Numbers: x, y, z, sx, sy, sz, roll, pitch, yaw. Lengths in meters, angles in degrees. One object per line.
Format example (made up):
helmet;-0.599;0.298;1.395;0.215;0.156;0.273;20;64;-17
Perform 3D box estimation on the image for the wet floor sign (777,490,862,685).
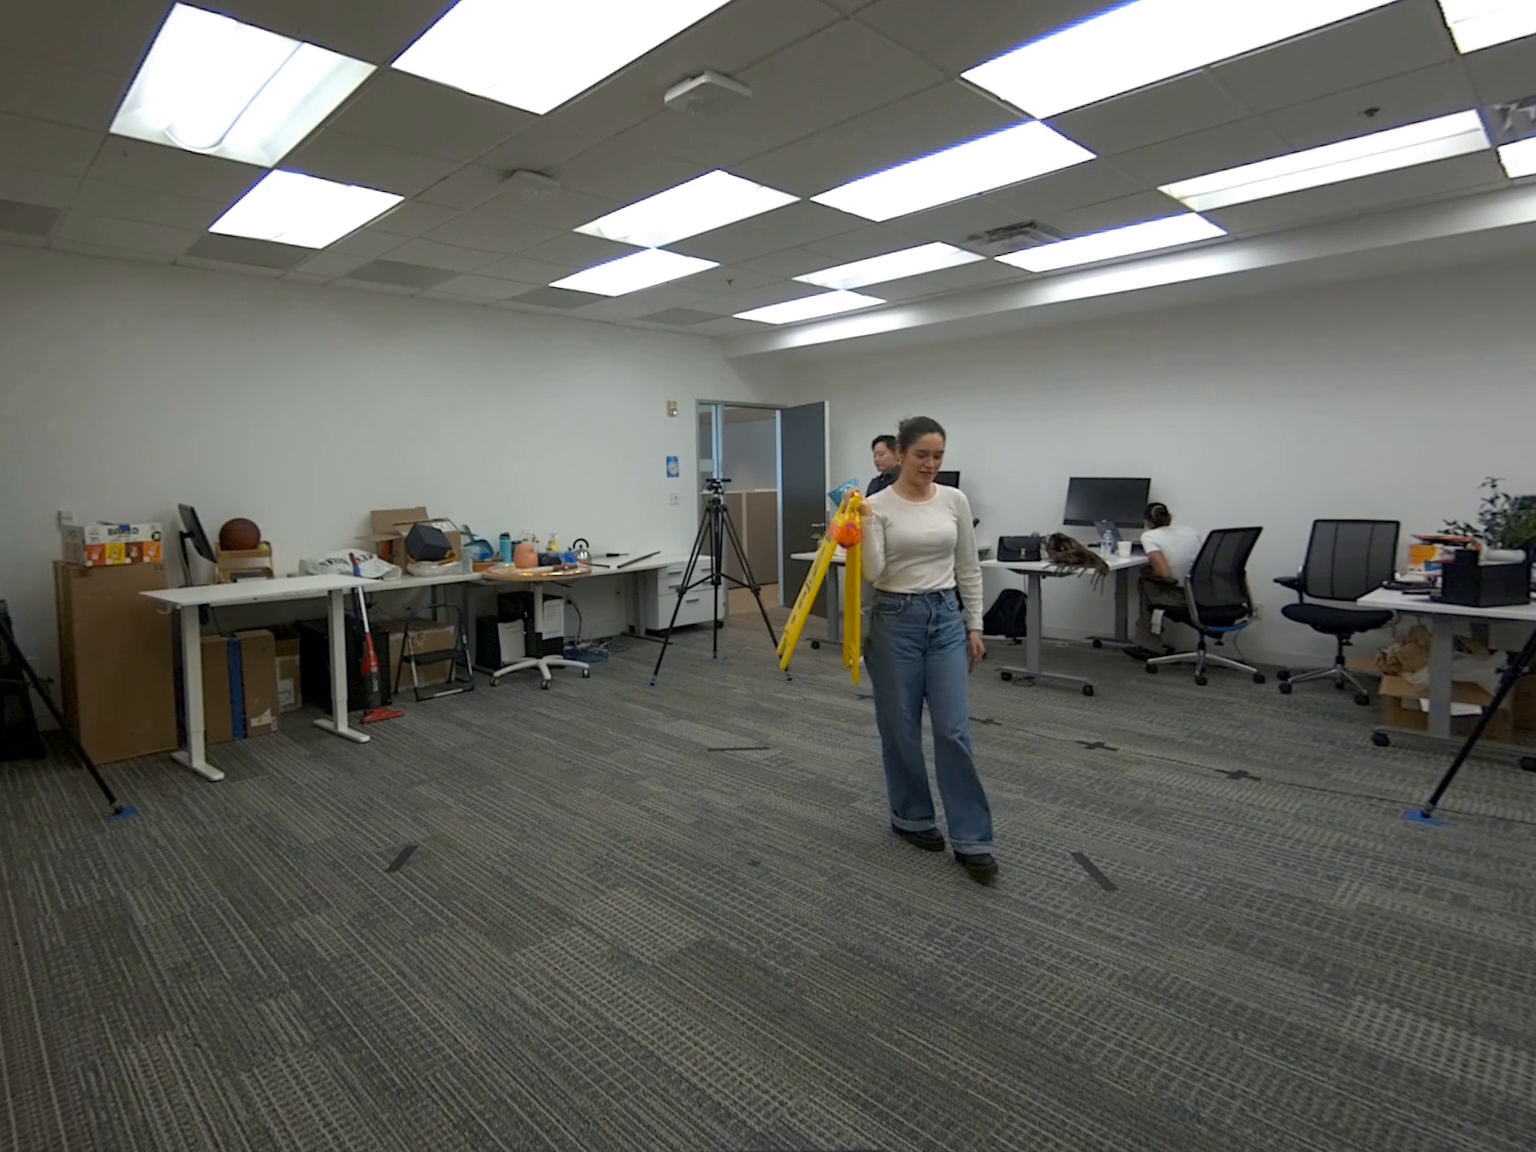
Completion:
wet floor sign;0.244;0.019;3.044;0.289;0.643;0.284;10;7;-2
